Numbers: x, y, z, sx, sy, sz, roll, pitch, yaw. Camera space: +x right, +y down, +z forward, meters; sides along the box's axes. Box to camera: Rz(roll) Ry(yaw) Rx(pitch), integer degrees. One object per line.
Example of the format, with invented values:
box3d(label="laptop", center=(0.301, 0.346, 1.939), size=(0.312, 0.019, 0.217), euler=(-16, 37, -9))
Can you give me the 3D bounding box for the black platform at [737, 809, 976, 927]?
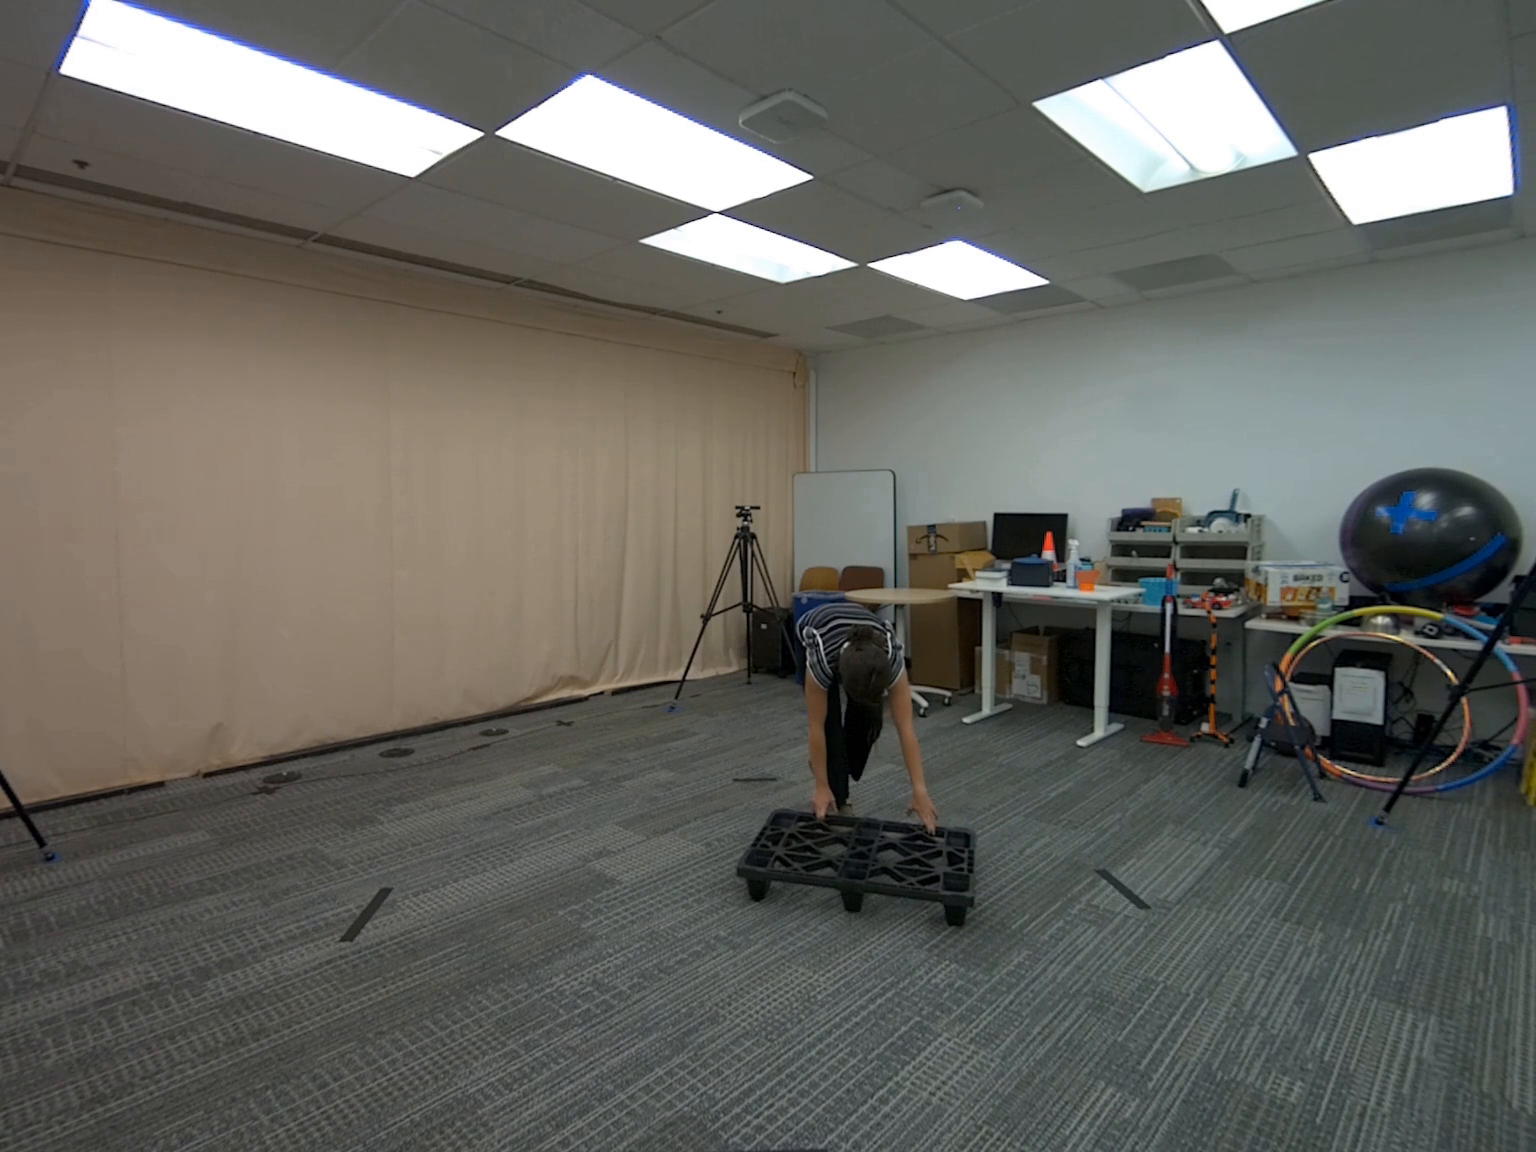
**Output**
box3d(label="black platform", center=(0.346, 1.061, 3.097), size=(0.820, 0.143, 0.596), euler=(1, 5, 16))
